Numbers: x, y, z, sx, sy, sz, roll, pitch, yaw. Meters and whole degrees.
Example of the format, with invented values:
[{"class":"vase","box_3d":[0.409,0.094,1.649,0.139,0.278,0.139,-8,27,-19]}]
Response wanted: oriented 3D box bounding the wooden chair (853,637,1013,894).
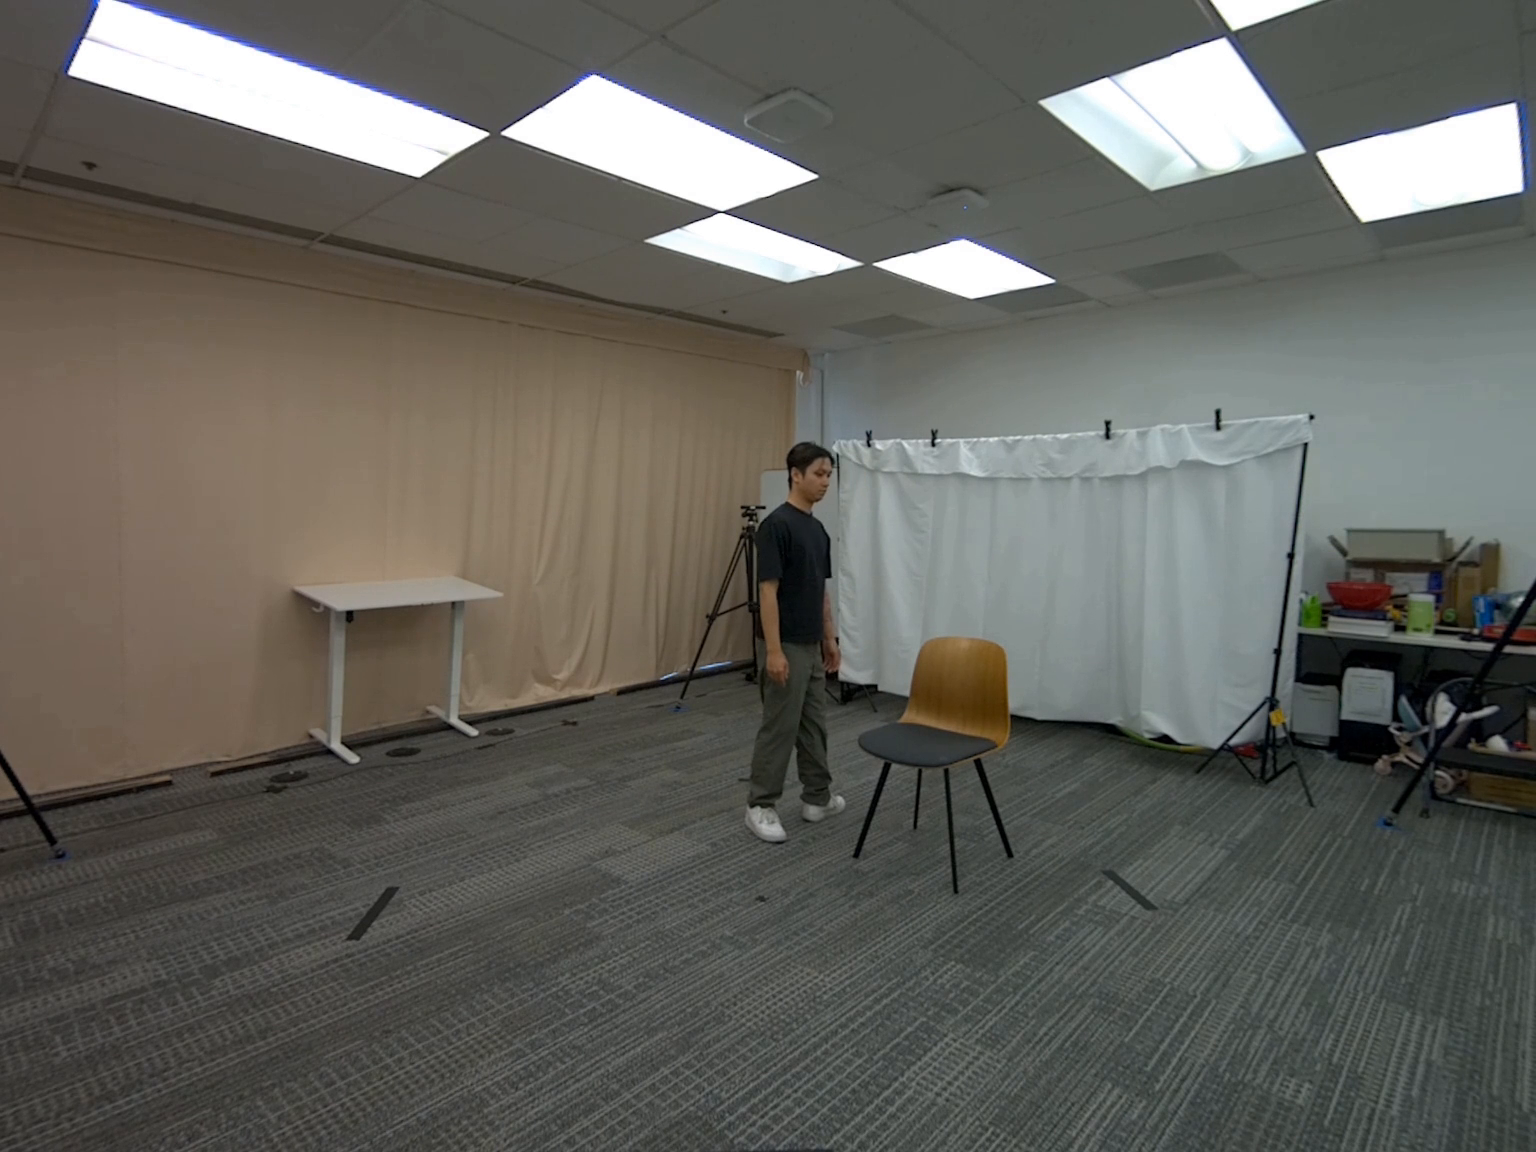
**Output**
[{"class":"wooden chair","box_3d":[0.655,0.689,3.290,0.494,0.877,0.506,3,0,43]}]
